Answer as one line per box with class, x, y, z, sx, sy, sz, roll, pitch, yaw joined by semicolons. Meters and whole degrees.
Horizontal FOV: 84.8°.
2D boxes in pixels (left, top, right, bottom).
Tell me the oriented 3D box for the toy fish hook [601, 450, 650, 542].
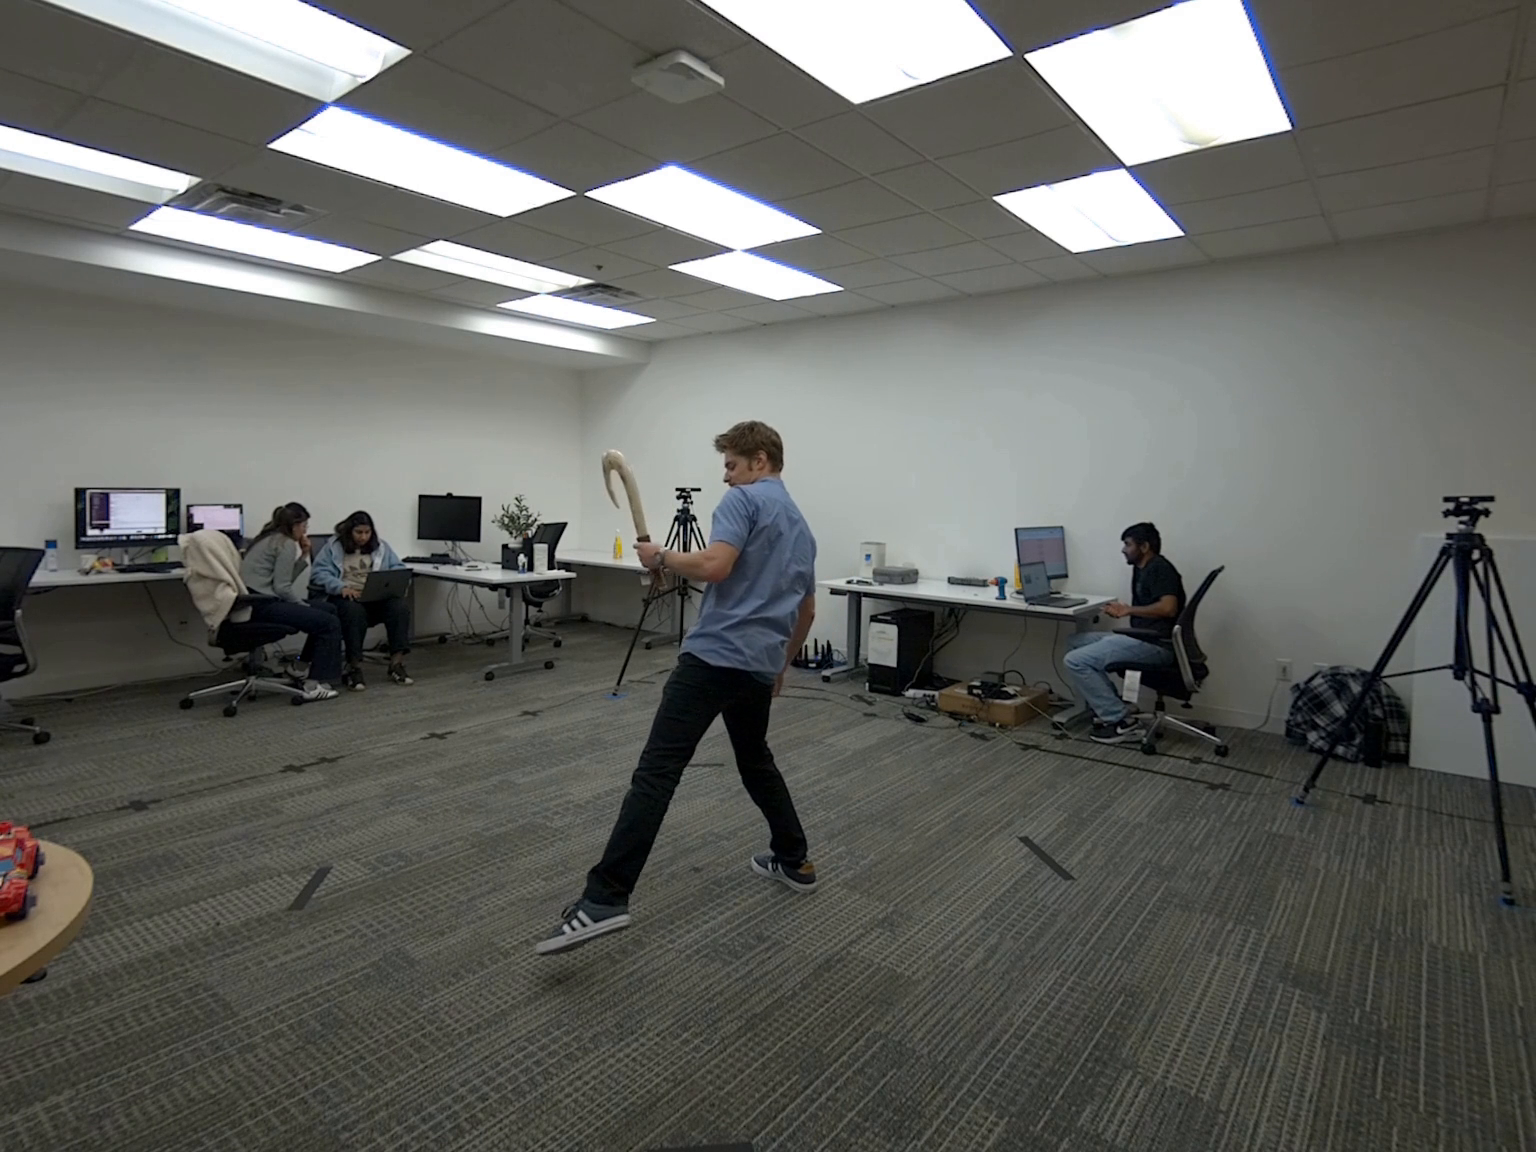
toy fish hook;-0.481;-0.181;2.918;0.047;0.505;0.229;-19;4;-26
